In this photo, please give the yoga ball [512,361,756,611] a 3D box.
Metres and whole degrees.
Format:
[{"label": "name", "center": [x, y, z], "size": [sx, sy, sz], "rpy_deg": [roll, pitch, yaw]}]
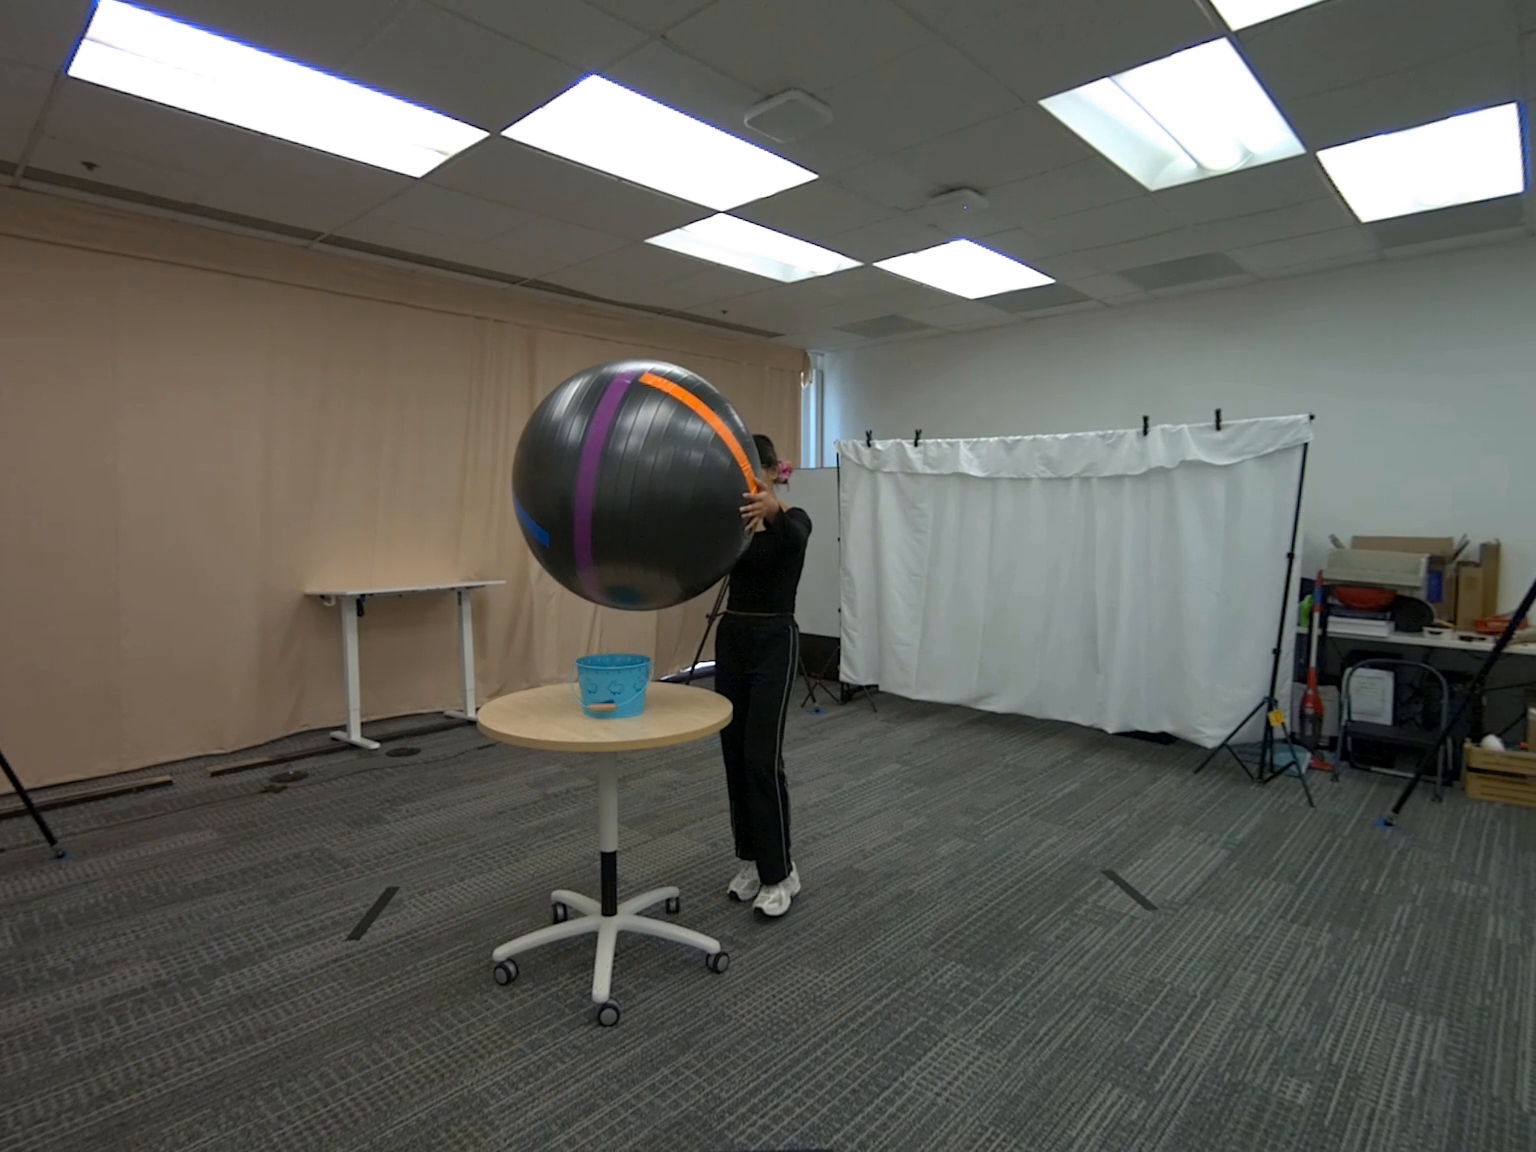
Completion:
[{"label": "yoga ball", "center": [-0.401, -0.268, 2.558], "size": [0.757, 0.756, 0.760], "rpy_deg": [0, 4, -2]}]
